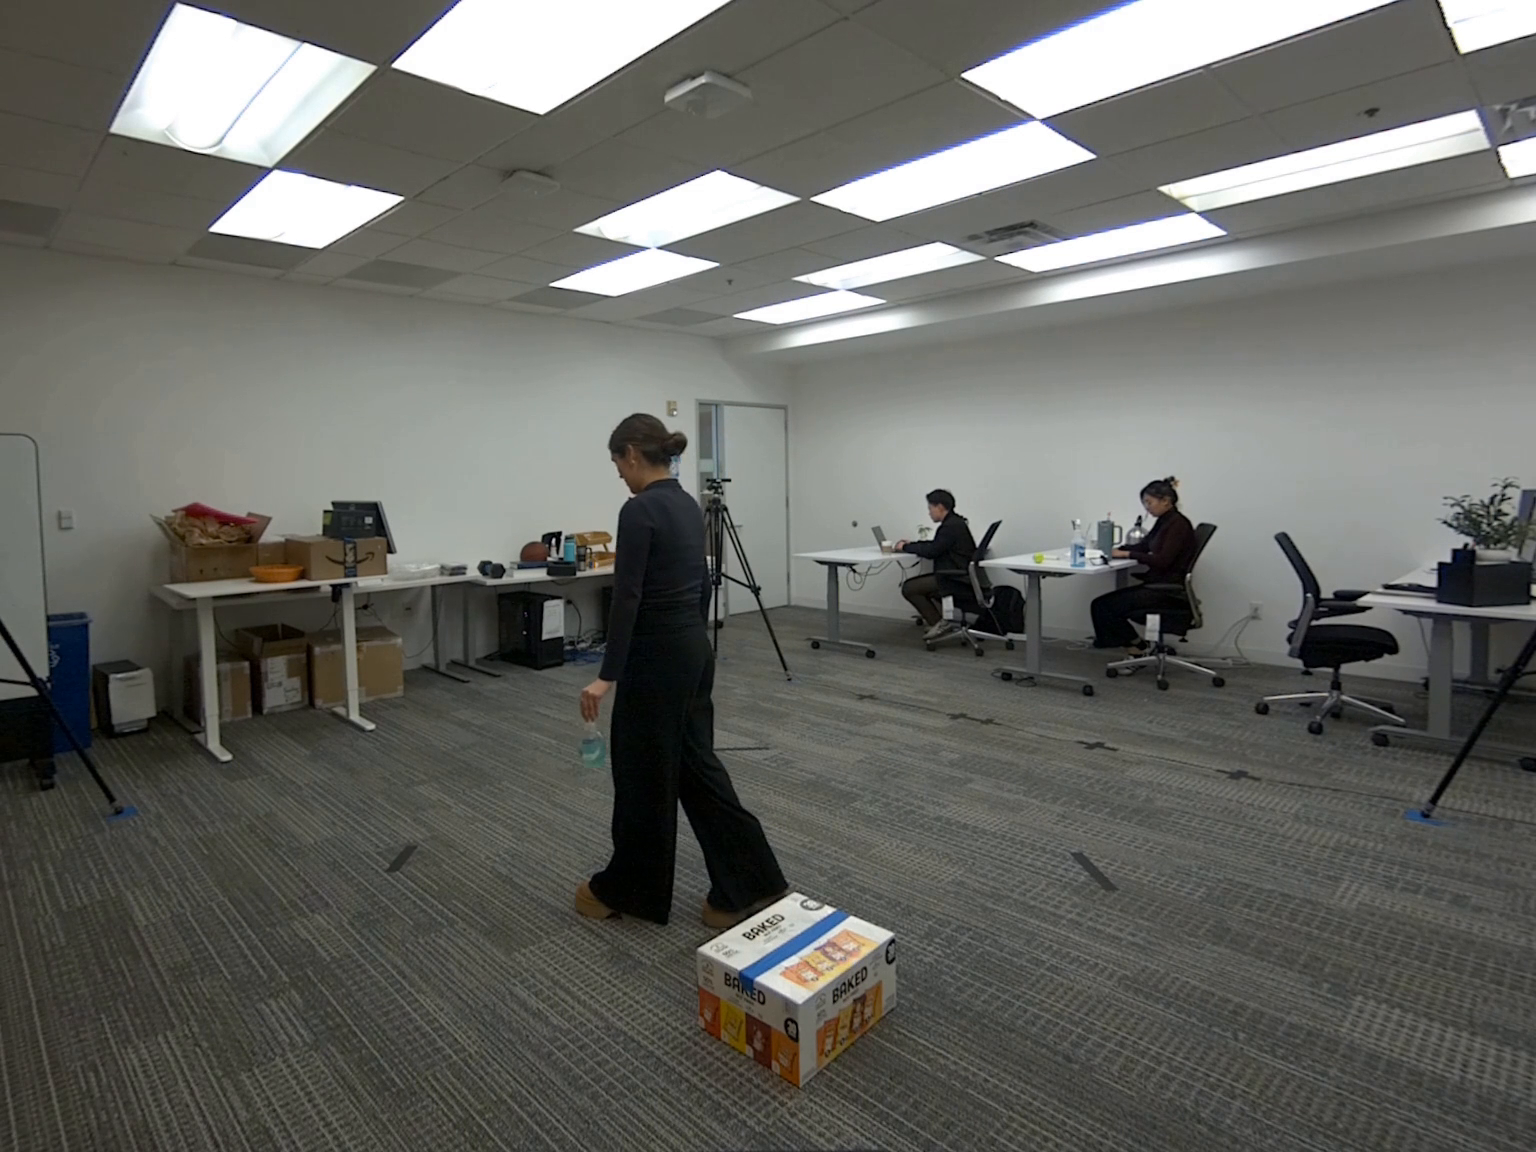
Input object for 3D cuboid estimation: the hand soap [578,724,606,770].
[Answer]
[{"bbox_3d":[-0.521,0.481,2.509,0.085,0.168,0.043,-3,-2,7],"label":"hand soap"}]
